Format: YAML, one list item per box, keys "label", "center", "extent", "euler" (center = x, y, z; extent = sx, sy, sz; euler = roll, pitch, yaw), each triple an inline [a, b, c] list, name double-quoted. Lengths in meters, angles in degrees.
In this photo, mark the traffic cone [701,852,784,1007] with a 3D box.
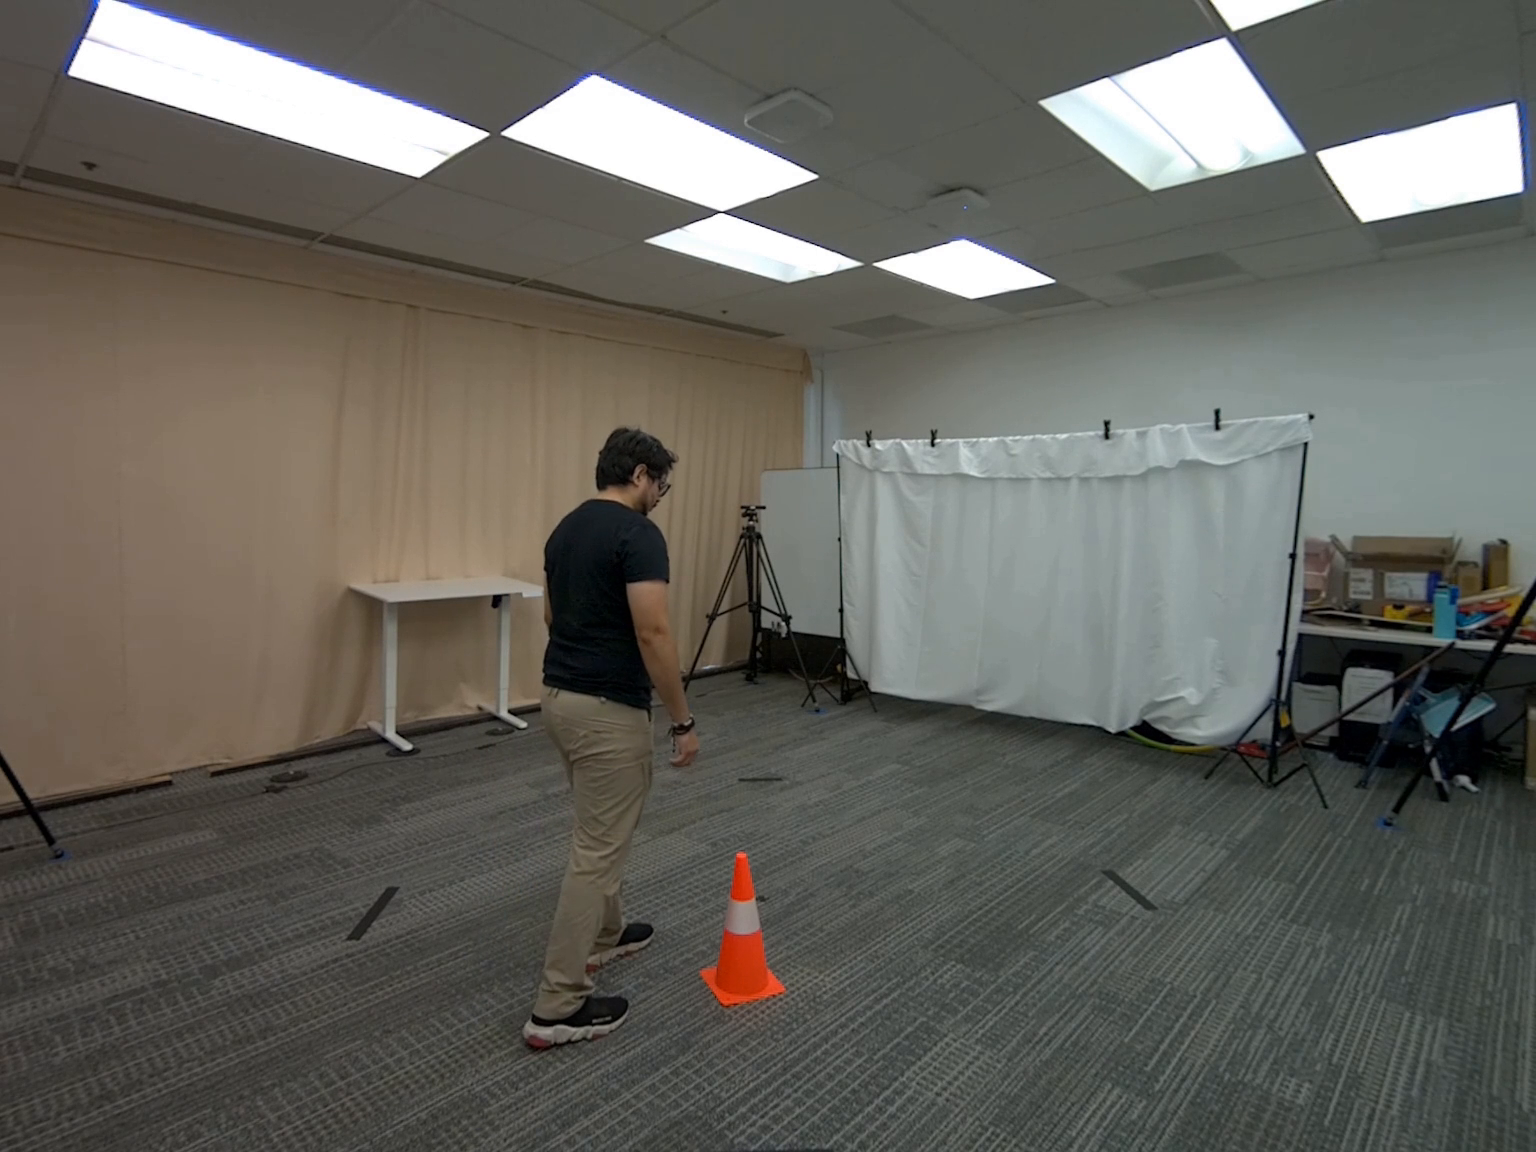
- label: "traffic cone"
  center: [-0.077, 1.008, 2.443]
  extent: [0.201, 0.383, 0.208]
  euler: [-1, 3, -22]
